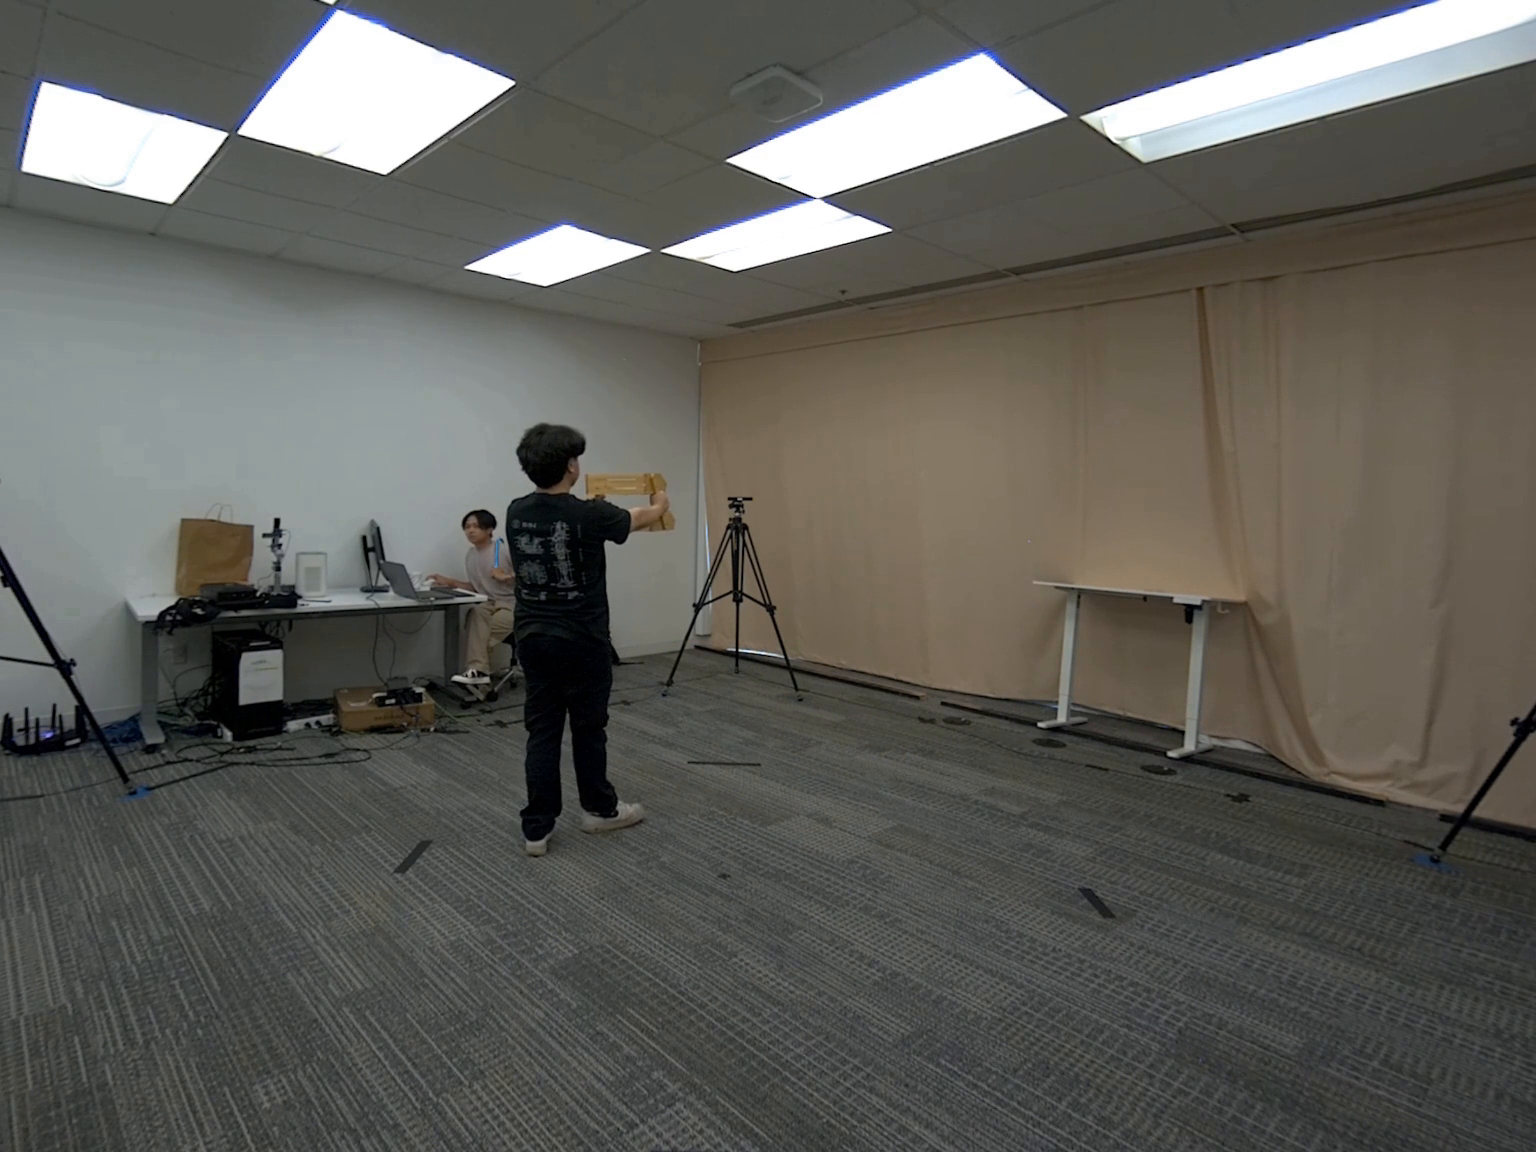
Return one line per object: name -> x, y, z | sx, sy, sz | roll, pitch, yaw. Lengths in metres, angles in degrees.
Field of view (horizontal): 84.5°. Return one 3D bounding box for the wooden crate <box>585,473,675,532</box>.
wooden crate -> -0.648, -0.349, 3.867 | 0.328, 0.272, 0.299 | 3, 6, 15
